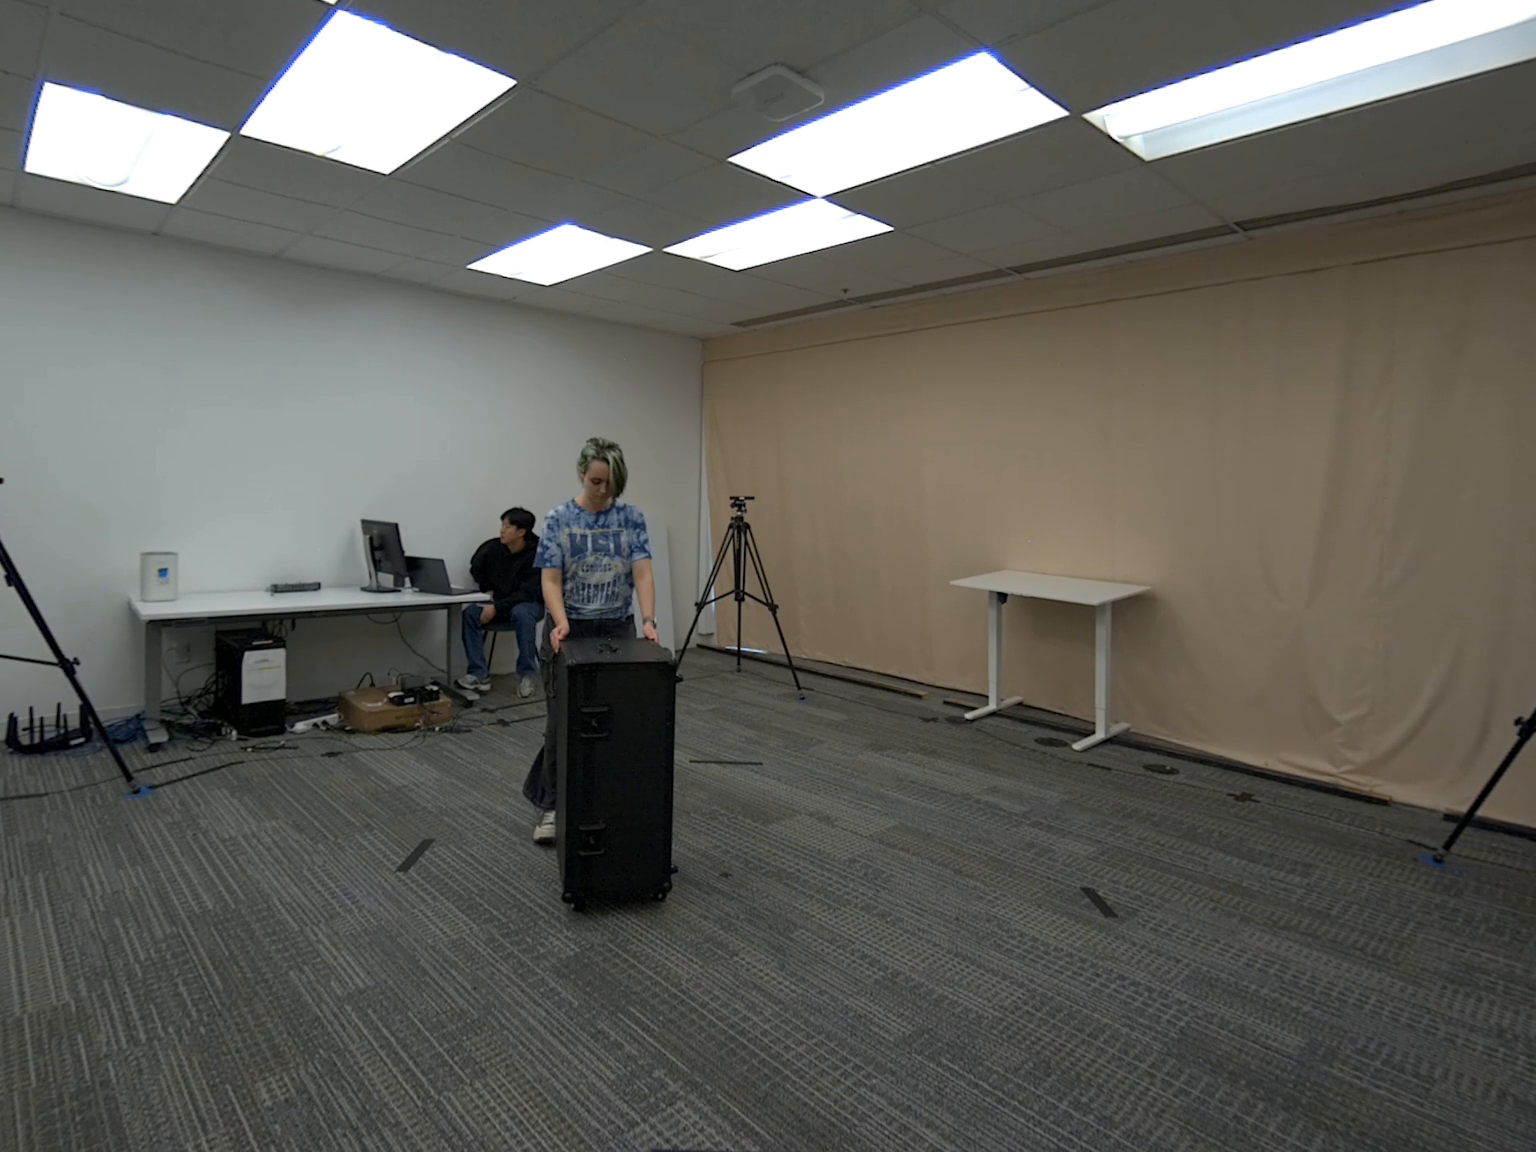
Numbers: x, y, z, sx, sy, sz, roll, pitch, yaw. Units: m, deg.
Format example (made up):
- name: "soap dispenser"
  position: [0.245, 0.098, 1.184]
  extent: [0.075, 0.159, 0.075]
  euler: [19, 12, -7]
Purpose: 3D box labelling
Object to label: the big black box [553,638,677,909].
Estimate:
- name: "big black box"
  position: [-0.549, 0.686, 2.982]
  extent: [0.391, 0.860, 0.529]
  euler: [2, 3, -17]
